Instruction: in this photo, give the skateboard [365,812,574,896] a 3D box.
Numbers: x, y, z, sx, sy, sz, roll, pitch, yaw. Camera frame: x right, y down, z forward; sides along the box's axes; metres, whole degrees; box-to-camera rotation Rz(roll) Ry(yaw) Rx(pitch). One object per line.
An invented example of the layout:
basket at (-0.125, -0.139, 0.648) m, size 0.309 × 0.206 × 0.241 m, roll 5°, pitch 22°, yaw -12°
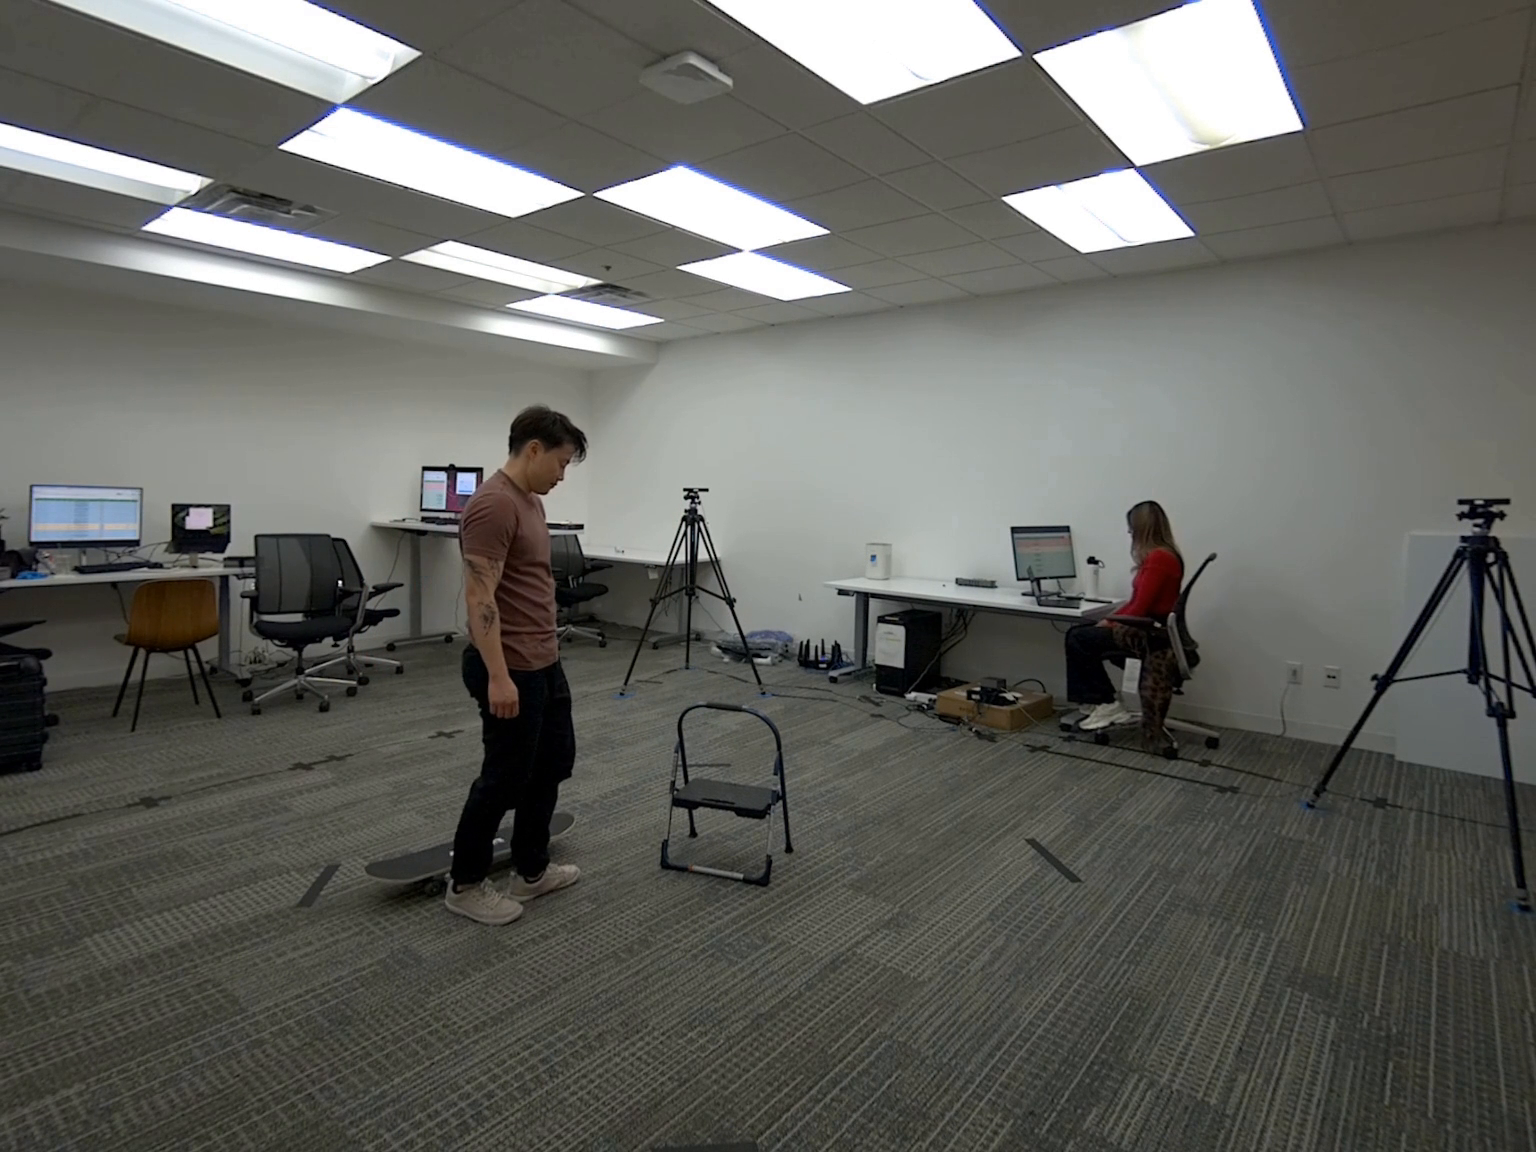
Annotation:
skateboard at (-1.057, 1.008, 3.072) m, size 0.762 × 0.110 × 0.200 m, roll -5°, pitch 8°, yaw -42°
